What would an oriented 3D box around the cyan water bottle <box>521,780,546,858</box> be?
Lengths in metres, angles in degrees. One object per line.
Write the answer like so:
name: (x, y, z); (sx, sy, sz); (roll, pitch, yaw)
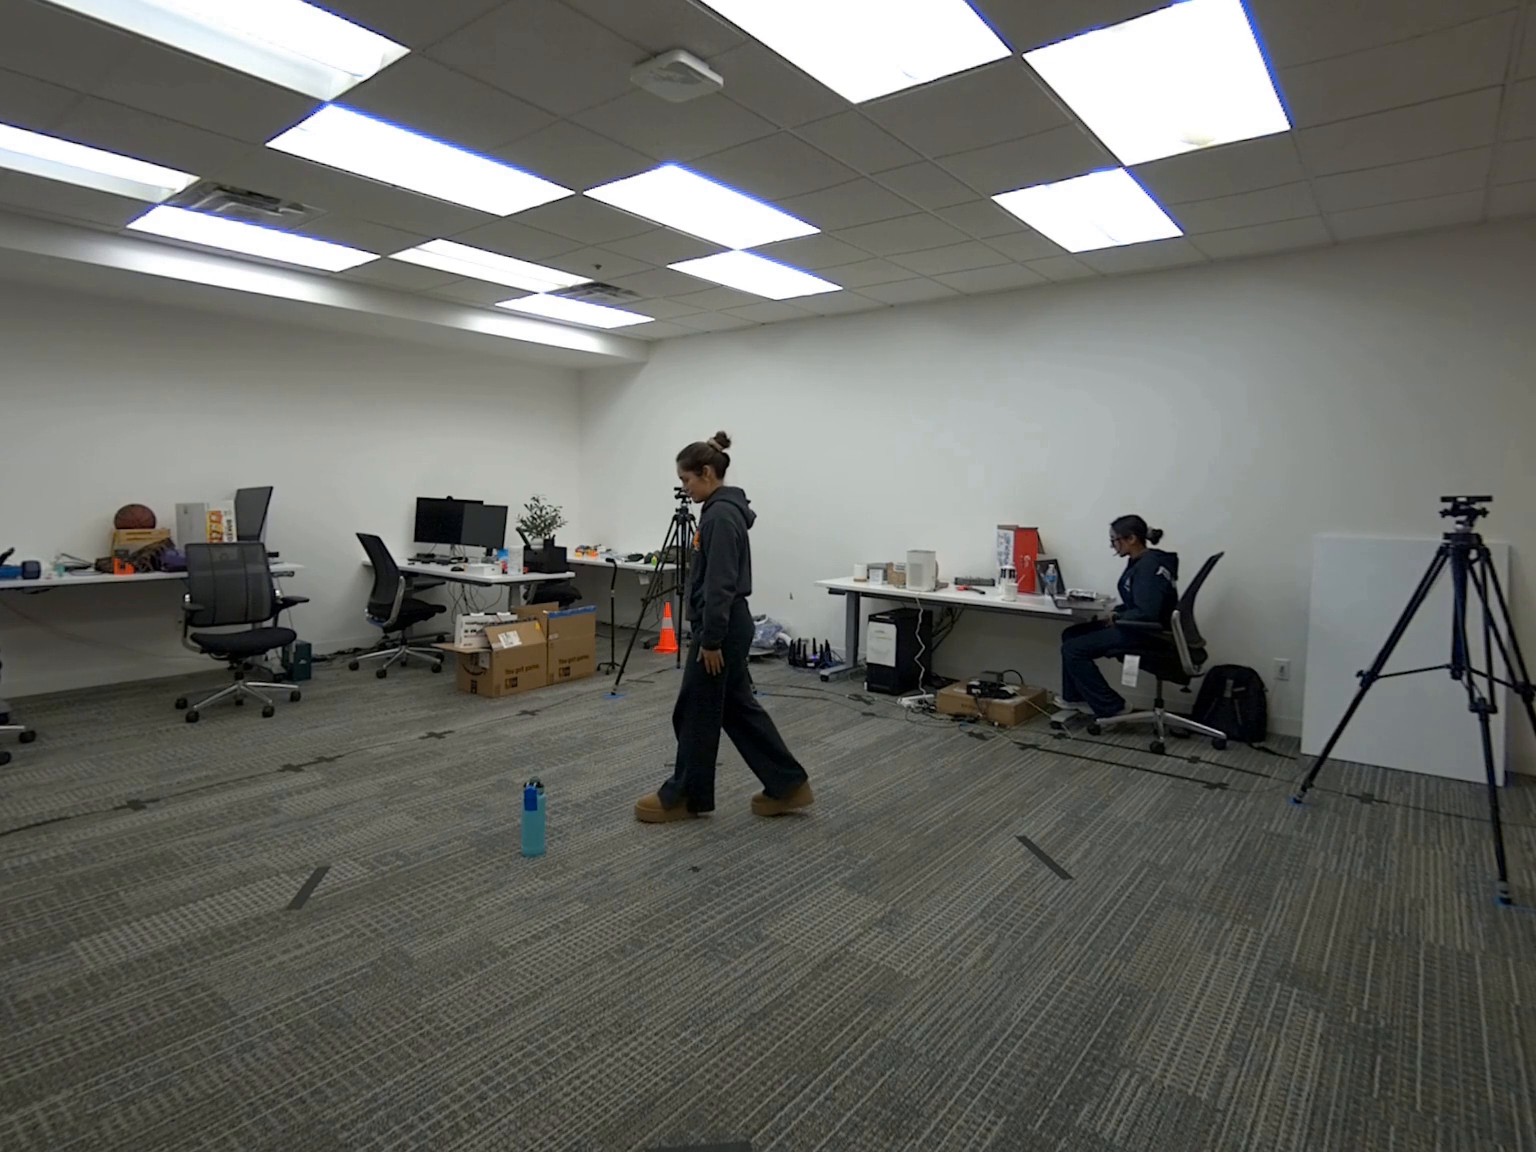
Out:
cyan water bottle: (-0.893, 0.908, 3.220); (0.092, 0.282, 0.093); (1, 5, -2)
